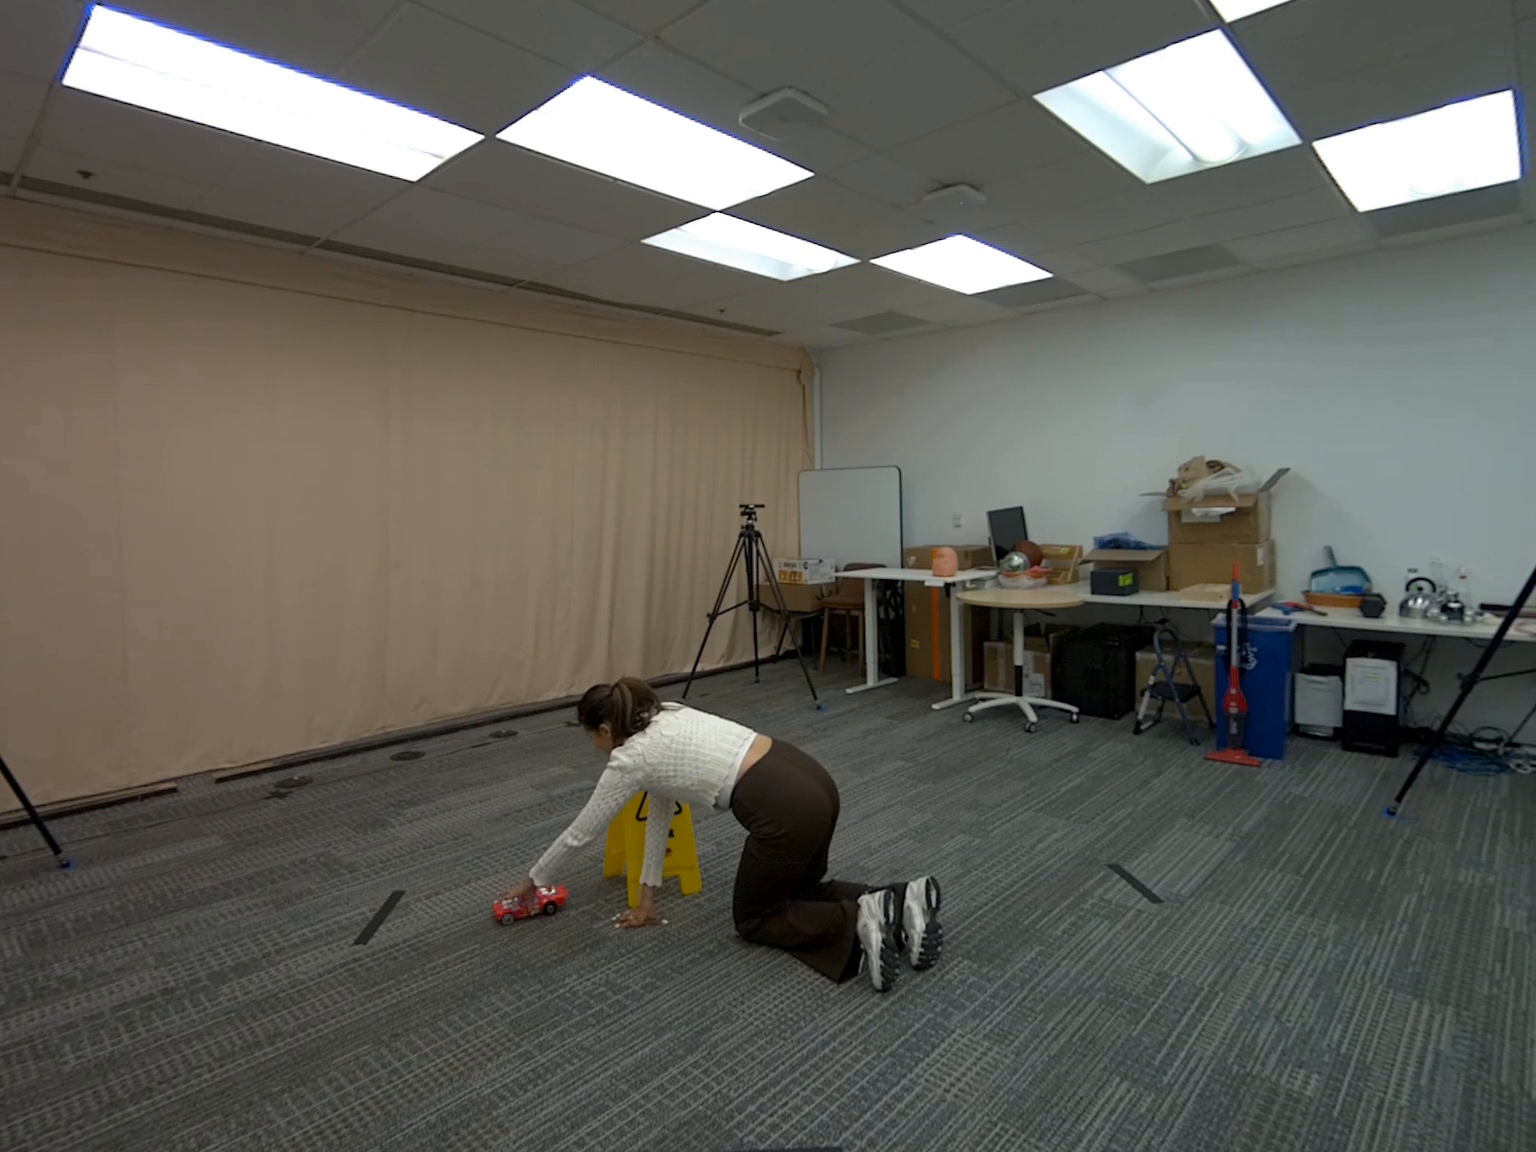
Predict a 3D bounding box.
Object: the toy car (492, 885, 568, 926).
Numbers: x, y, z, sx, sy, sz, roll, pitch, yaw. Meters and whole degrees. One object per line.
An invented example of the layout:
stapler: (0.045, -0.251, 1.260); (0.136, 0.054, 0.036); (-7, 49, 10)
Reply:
toy car: (-0.814, 1.129, 2.916); (0.250, 0.082, 0.134); (-17, 10, -23)
